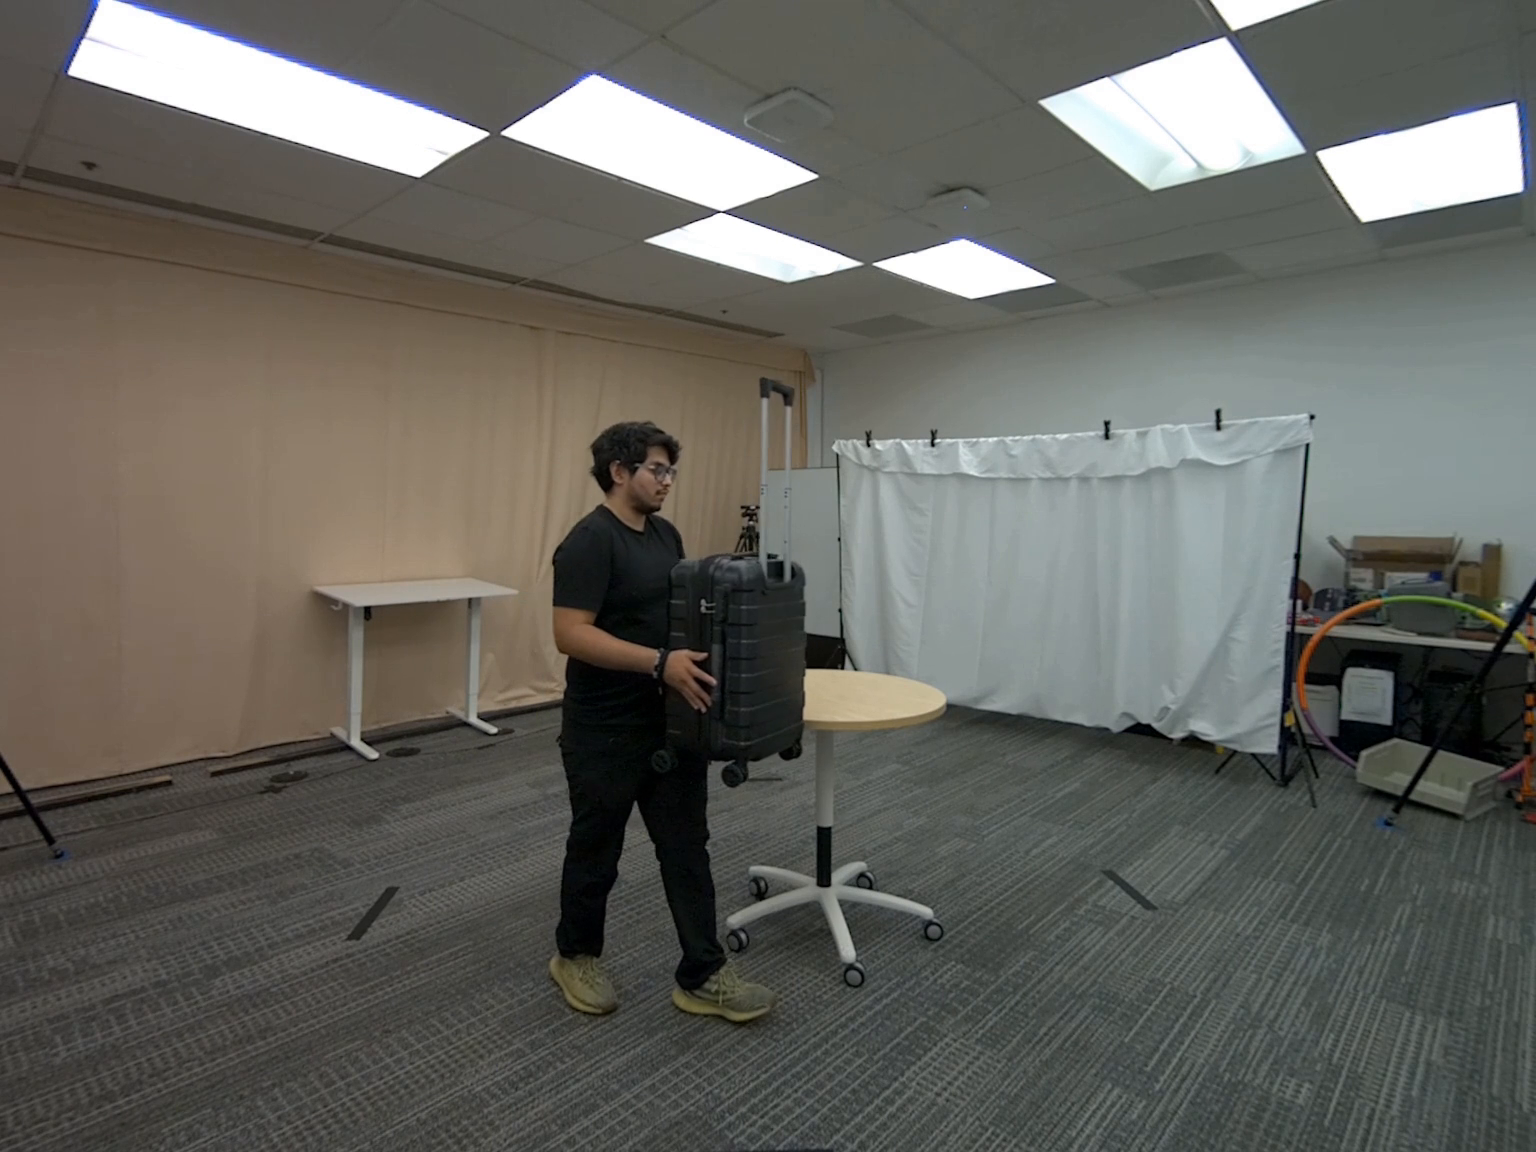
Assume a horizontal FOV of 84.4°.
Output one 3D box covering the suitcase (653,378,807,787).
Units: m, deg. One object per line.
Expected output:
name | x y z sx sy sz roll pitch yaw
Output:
suitcase | -0.072 0.003 2.161 0.264 0.979 0.373 1 -1 30
